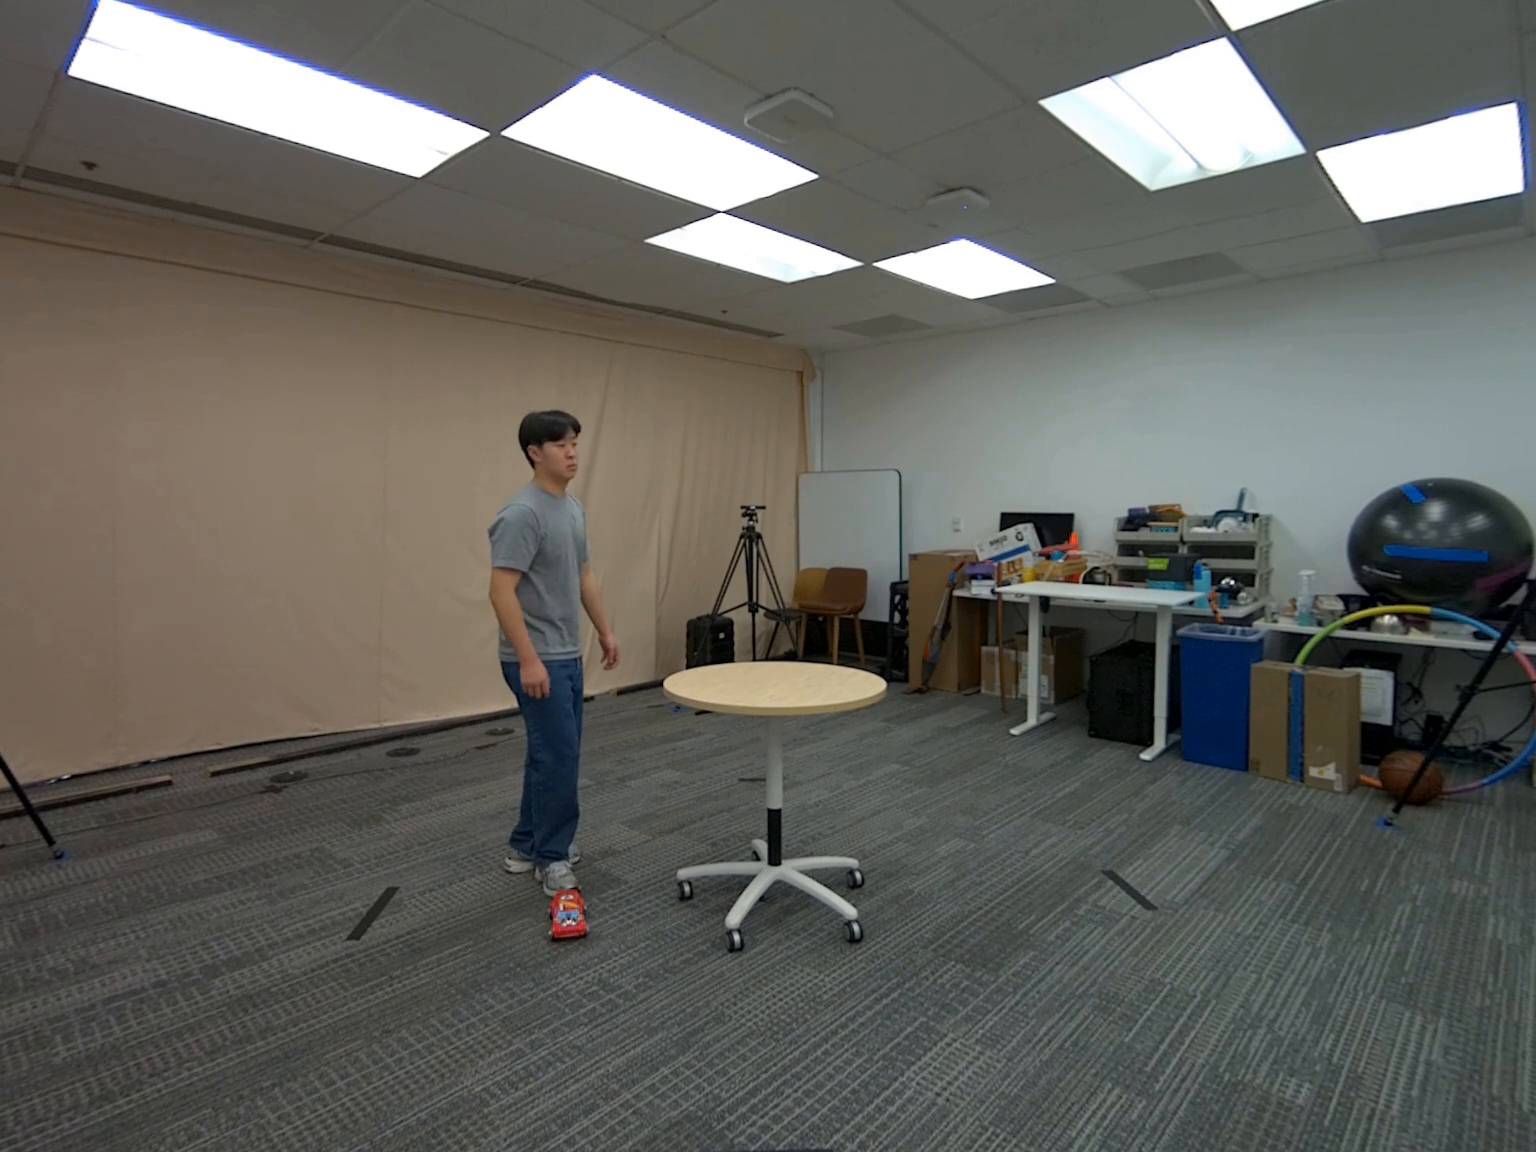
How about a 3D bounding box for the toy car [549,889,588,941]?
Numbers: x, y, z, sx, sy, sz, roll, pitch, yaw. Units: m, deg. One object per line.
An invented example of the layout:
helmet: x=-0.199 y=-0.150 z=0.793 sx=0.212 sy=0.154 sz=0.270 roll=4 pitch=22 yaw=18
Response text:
toy car: x=-0.669 y=1.133 z=2.805 sx=0.128 sy=0.082 sz=0.260 roll=-2 pitch=16 yaw=-15
